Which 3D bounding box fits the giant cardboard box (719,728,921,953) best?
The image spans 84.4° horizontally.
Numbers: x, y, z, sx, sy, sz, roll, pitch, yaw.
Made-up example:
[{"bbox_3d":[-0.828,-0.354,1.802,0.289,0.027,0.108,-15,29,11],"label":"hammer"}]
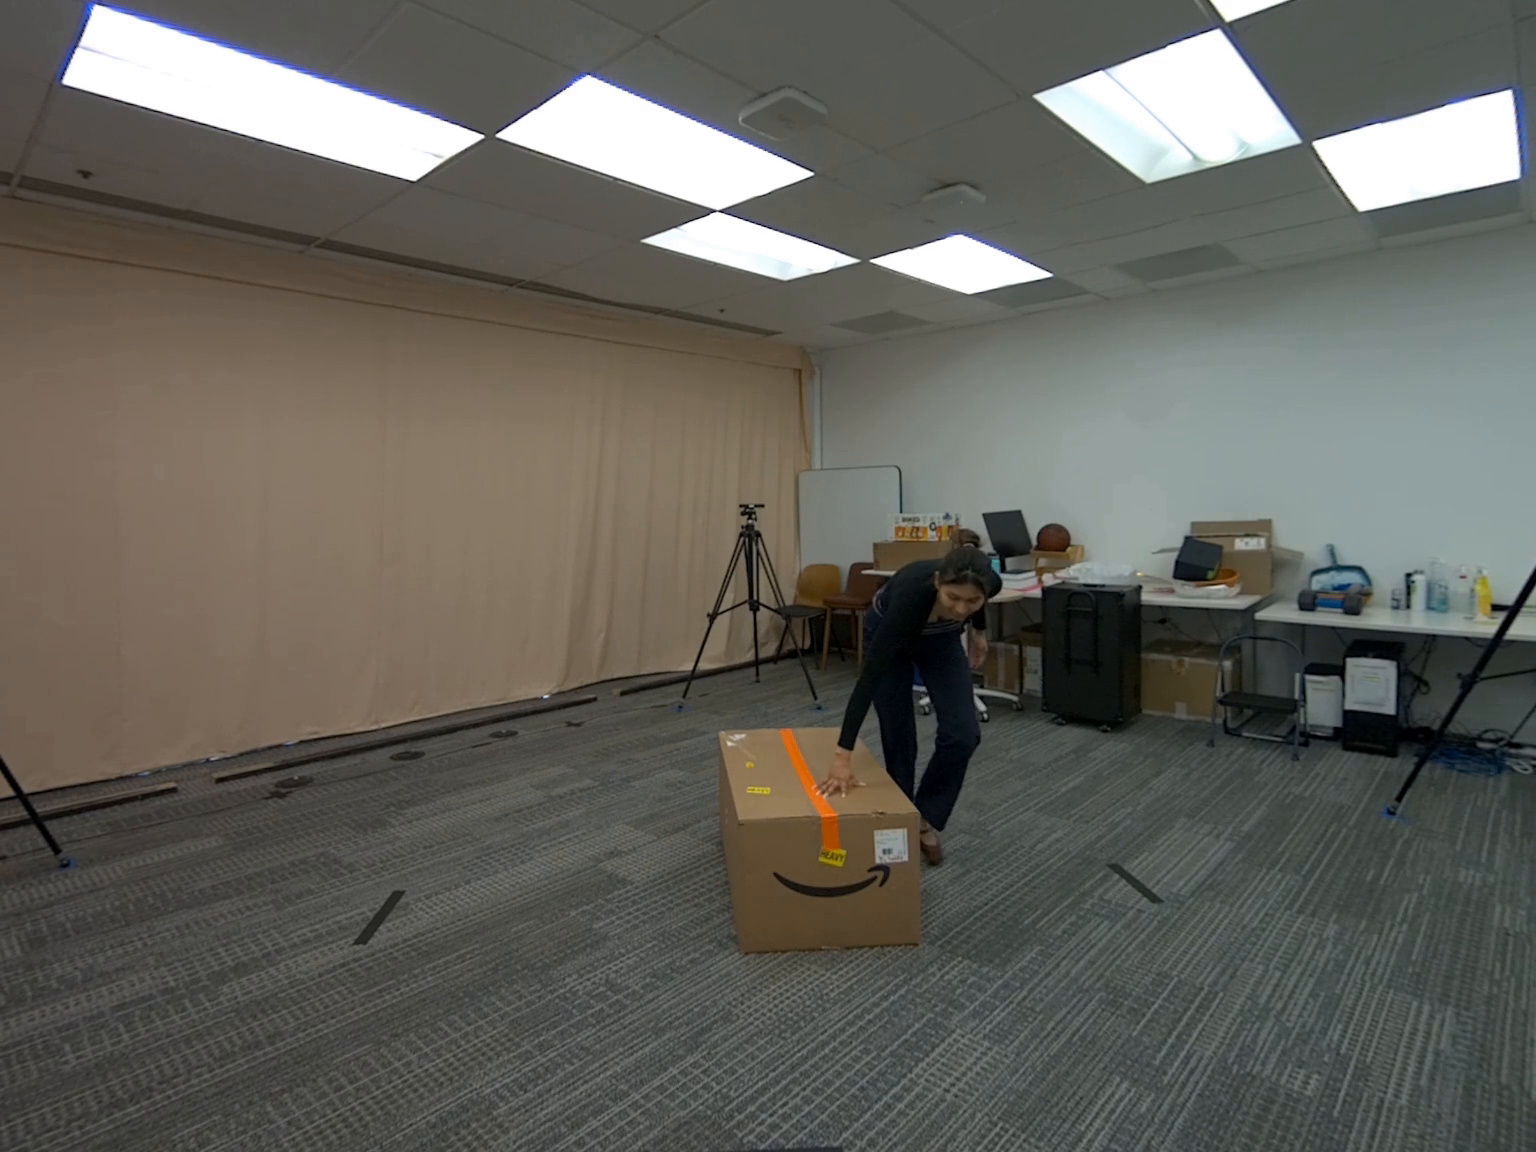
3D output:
[{"bbox_3d":[0.139,0.910,3.123,0.574,0.425,1.034,-2,5,-6],"label":"giant cardboard box"}]
